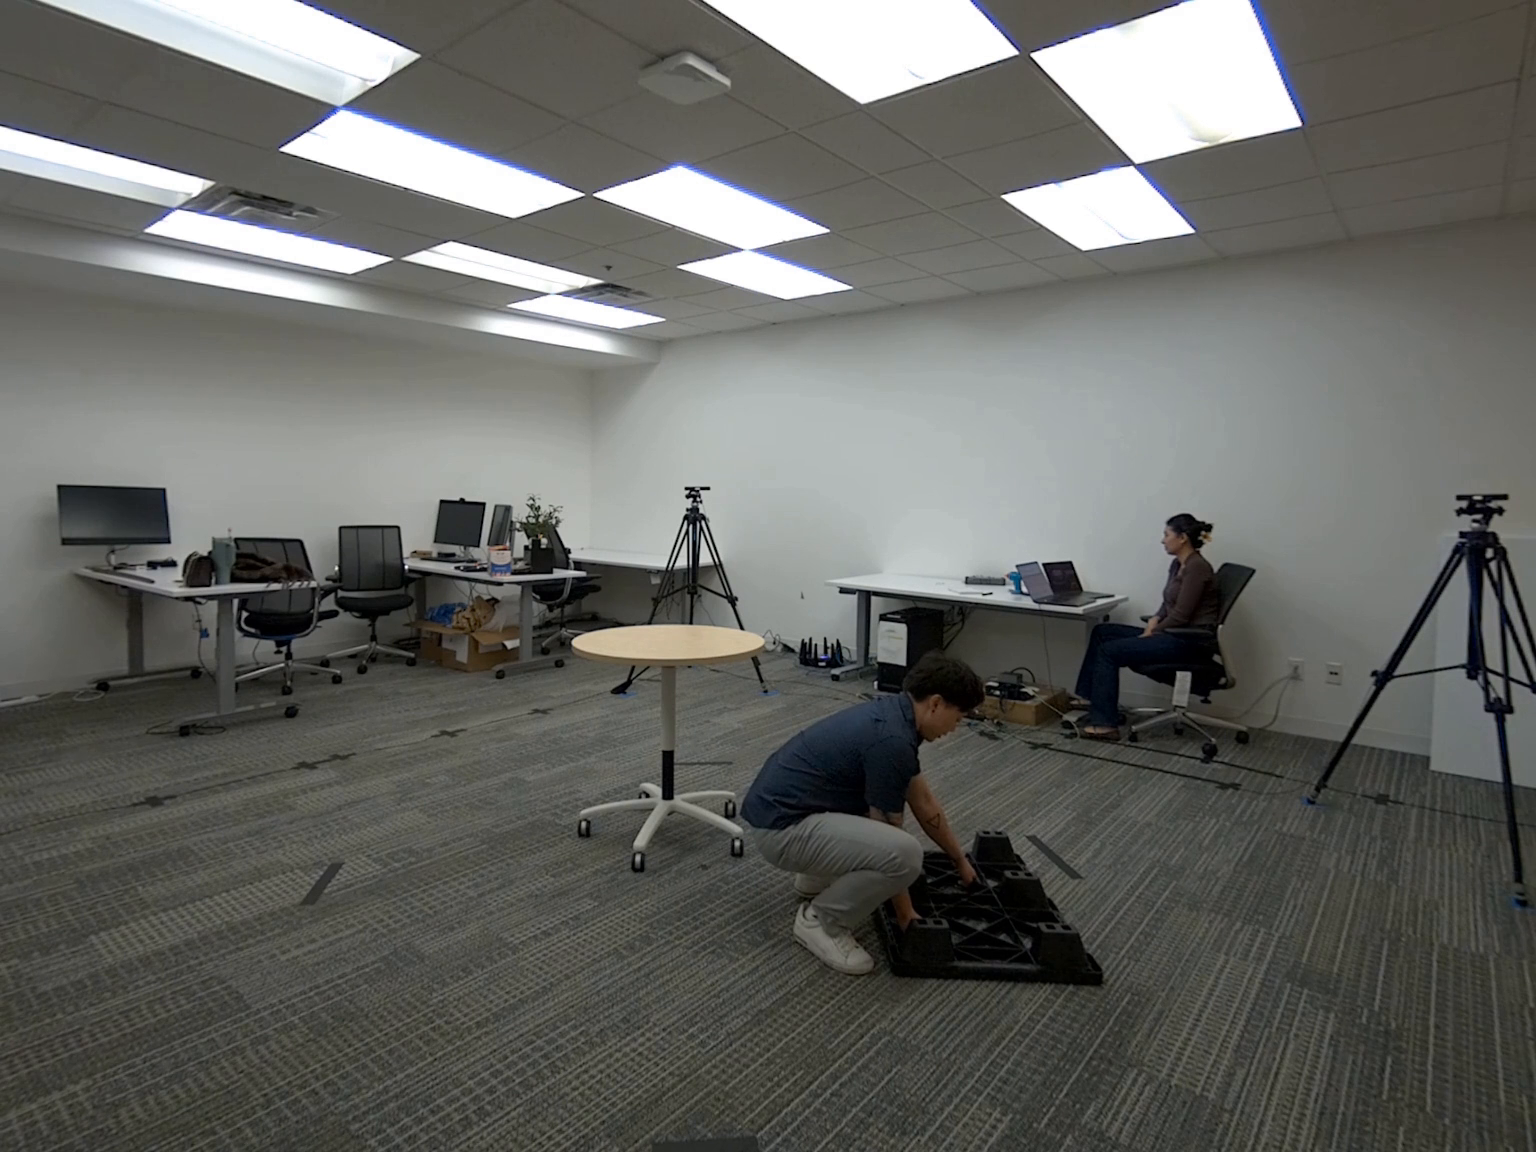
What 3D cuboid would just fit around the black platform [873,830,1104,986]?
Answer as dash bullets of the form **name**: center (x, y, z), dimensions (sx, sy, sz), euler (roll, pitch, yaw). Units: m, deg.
- **black platform**: center (0.650, 1.042, 2.811), dimensions (0.606, 0.143, 0.808), euler (0, 6, 0)
